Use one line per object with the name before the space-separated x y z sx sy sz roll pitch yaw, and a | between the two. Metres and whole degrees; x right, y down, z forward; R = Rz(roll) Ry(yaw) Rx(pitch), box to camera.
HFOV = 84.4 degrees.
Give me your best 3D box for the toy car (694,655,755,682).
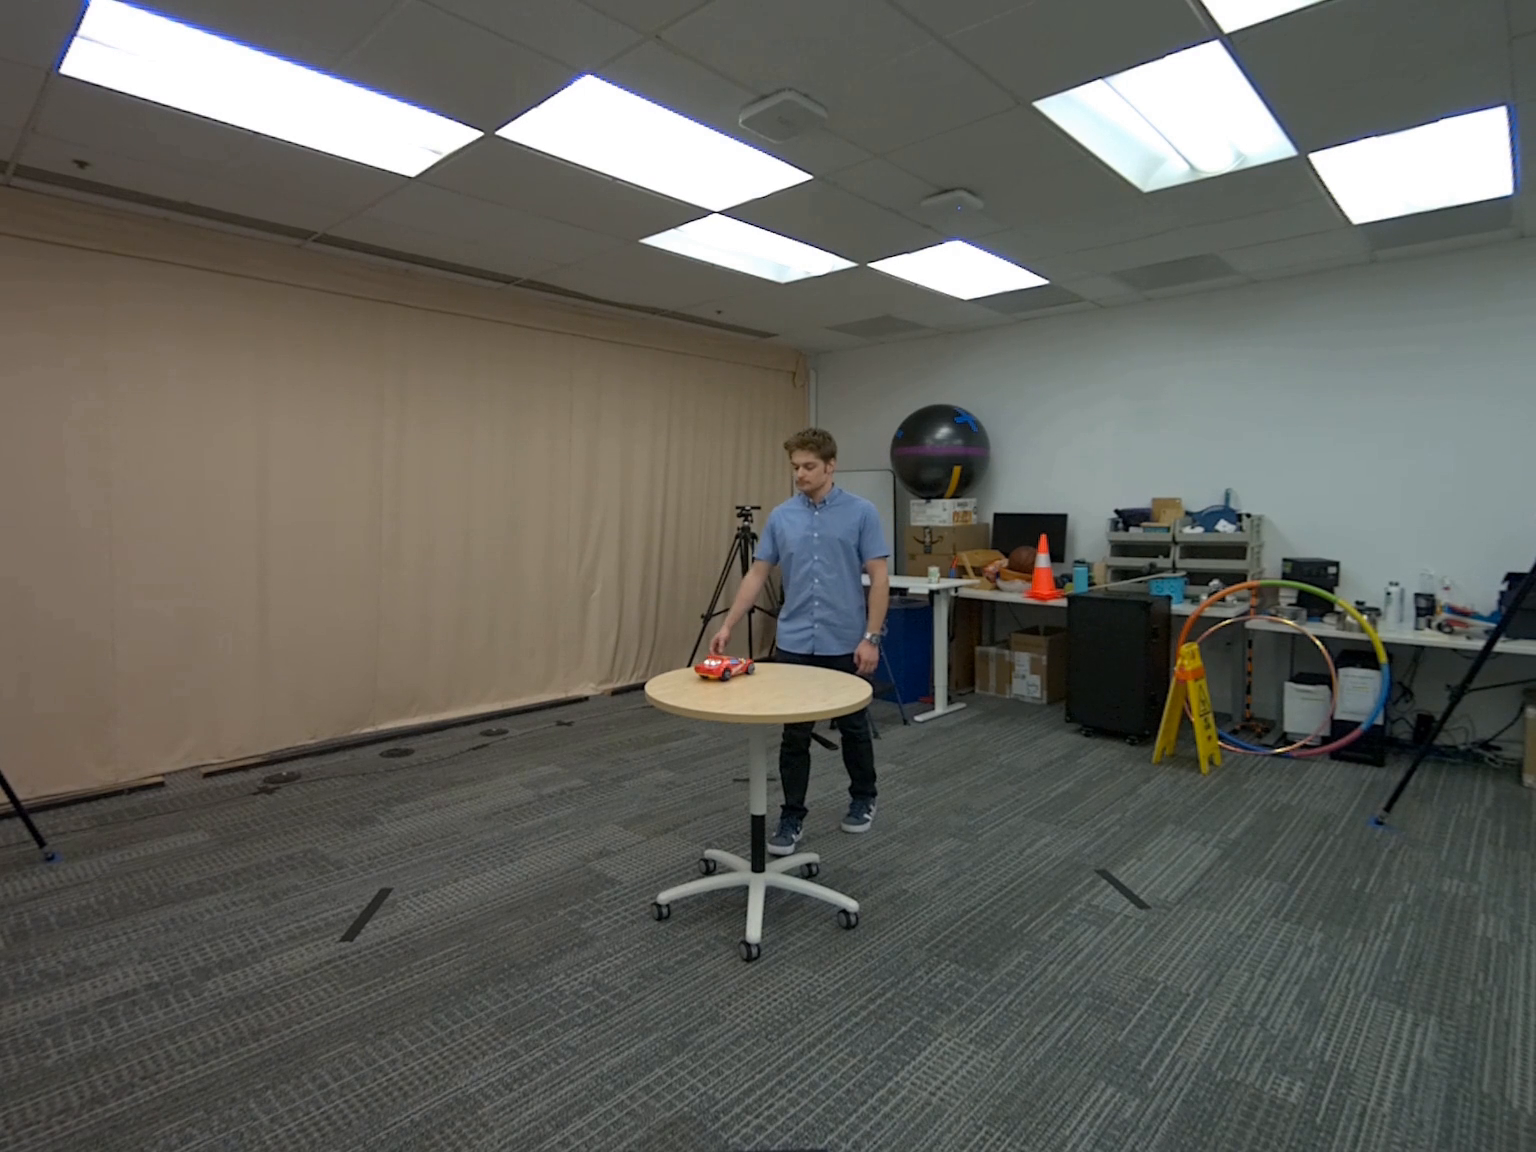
toy car | -0.155 0.329 2.984 0.134 0.083 0.246 4 -4 36
